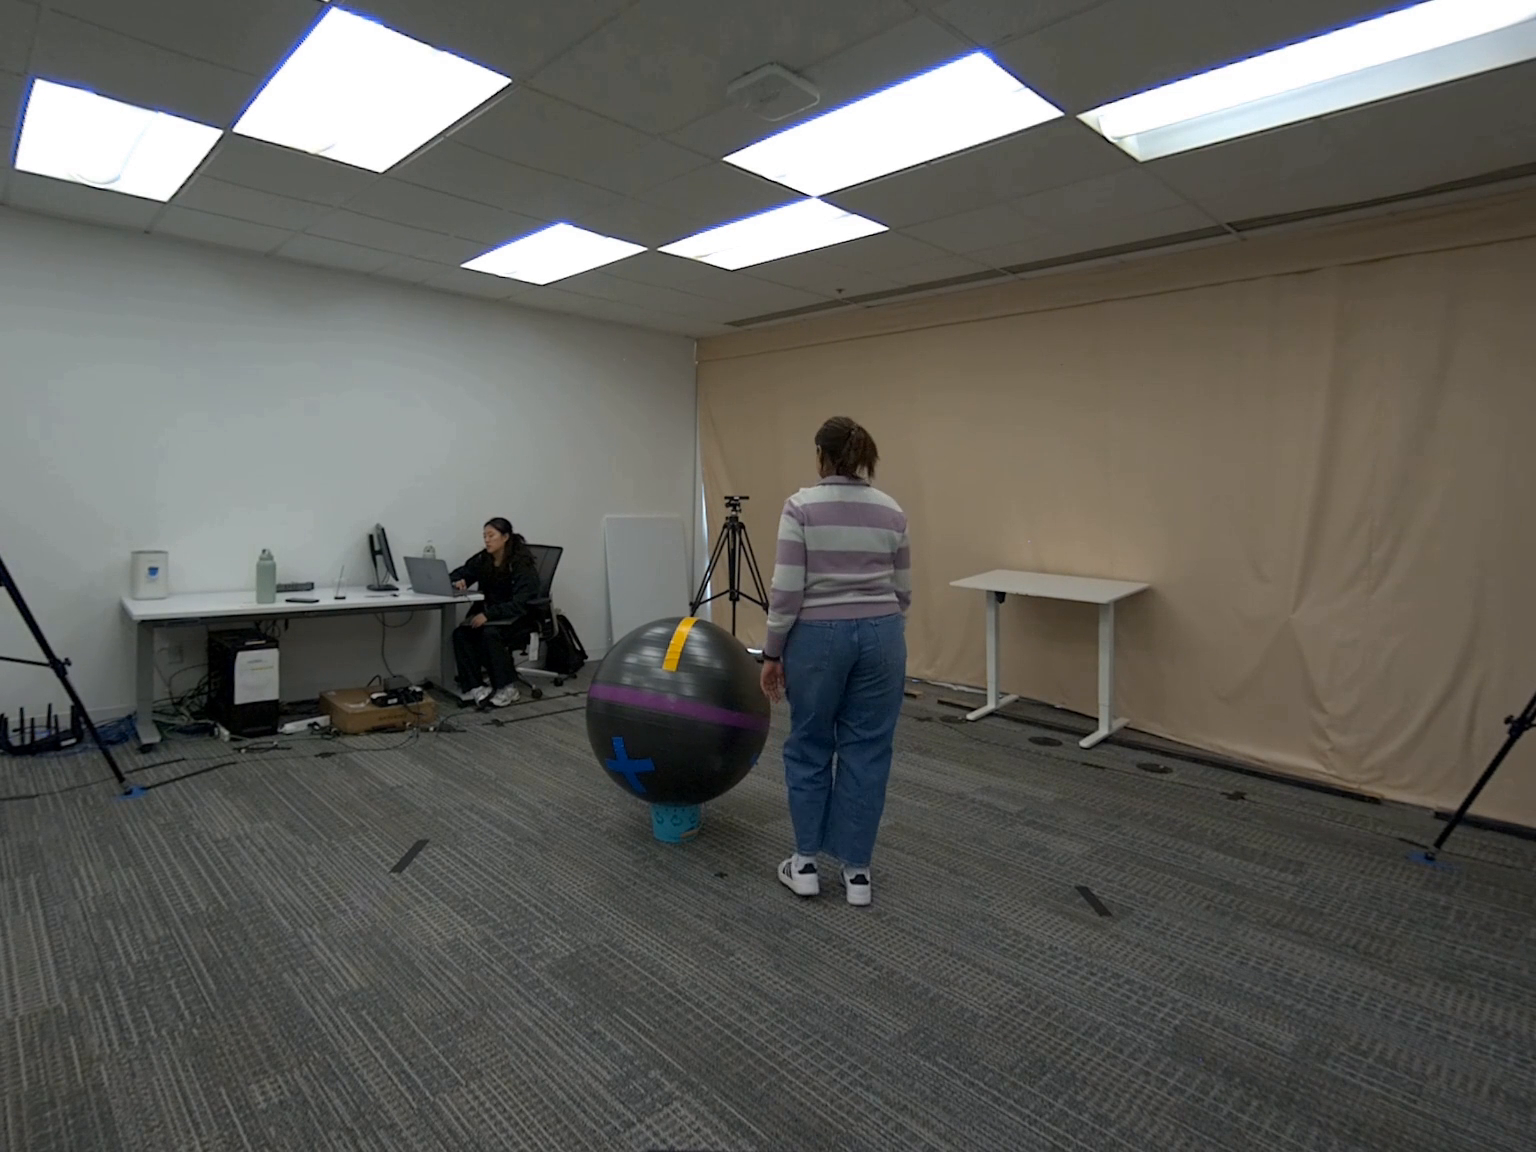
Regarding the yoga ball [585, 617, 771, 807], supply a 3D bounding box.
[{"bbox_3d":[-0.384,0.558,3.476,0.757,0.756,0.761,1,4,-1],"label":"yoga ball"}]
